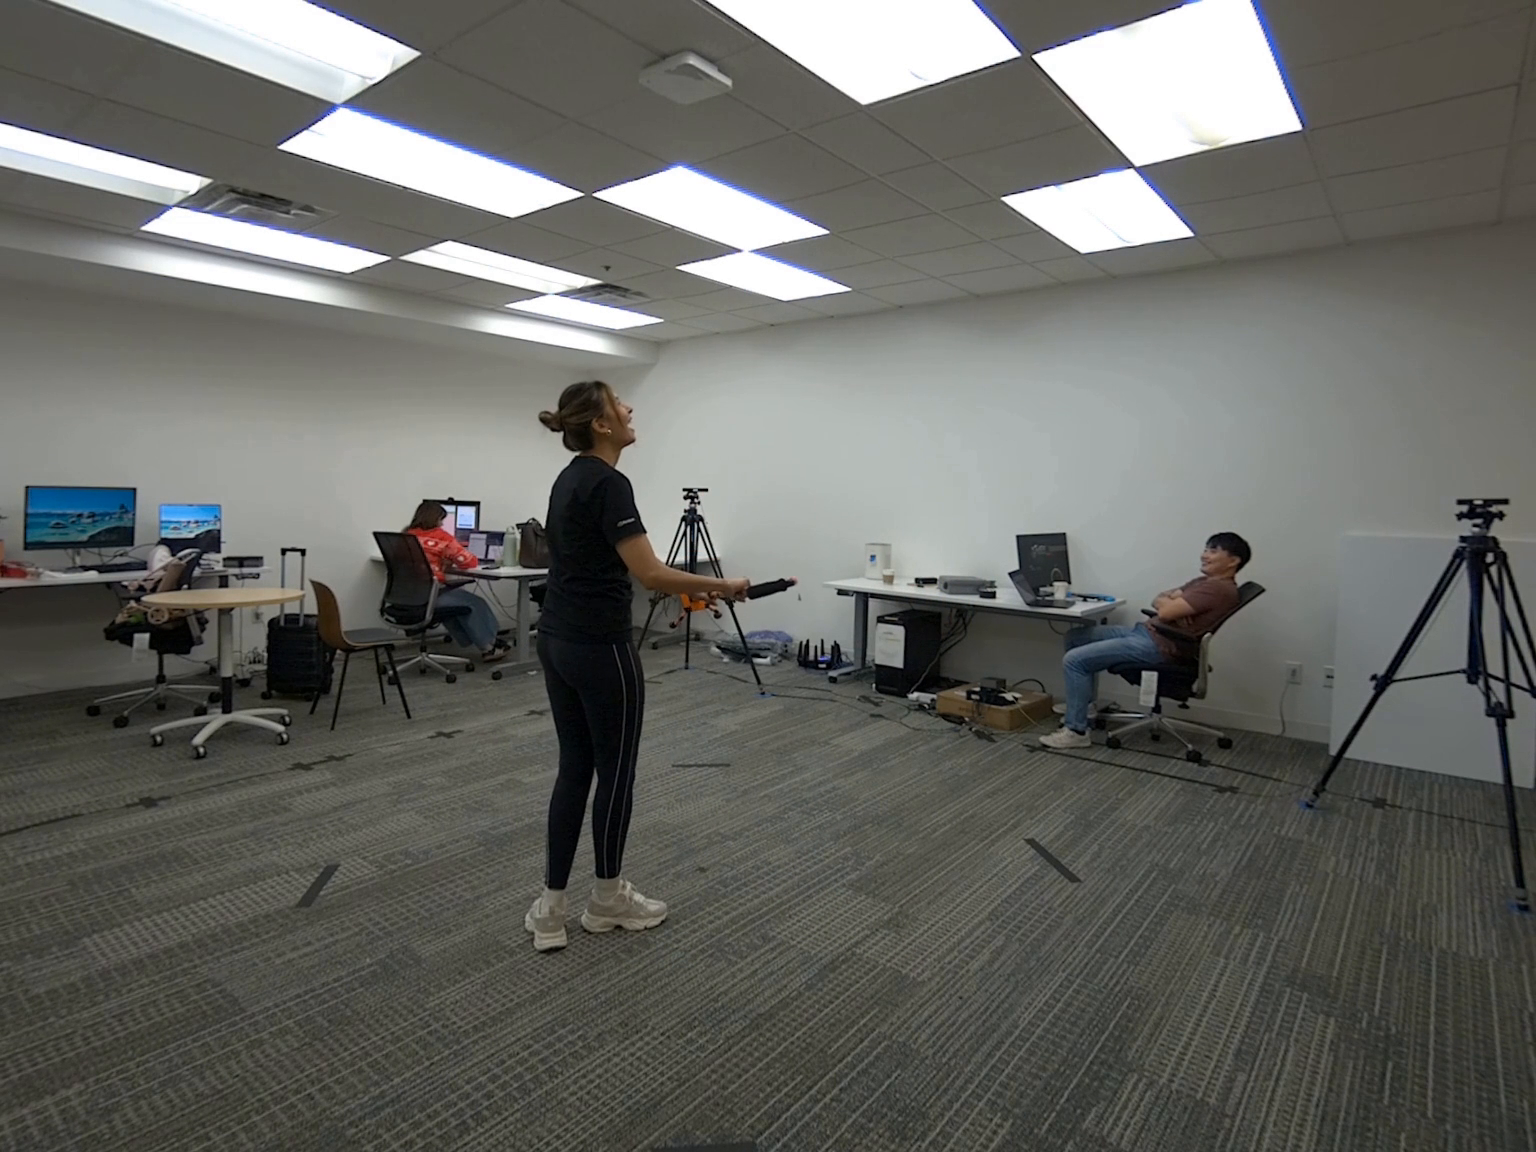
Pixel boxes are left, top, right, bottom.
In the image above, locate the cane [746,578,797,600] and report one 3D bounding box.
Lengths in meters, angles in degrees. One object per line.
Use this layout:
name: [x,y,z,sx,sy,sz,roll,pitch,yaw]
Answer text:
cane: [-0.124,0.064,2.726,0.203,0.152,0.920,-12,0,-21]
